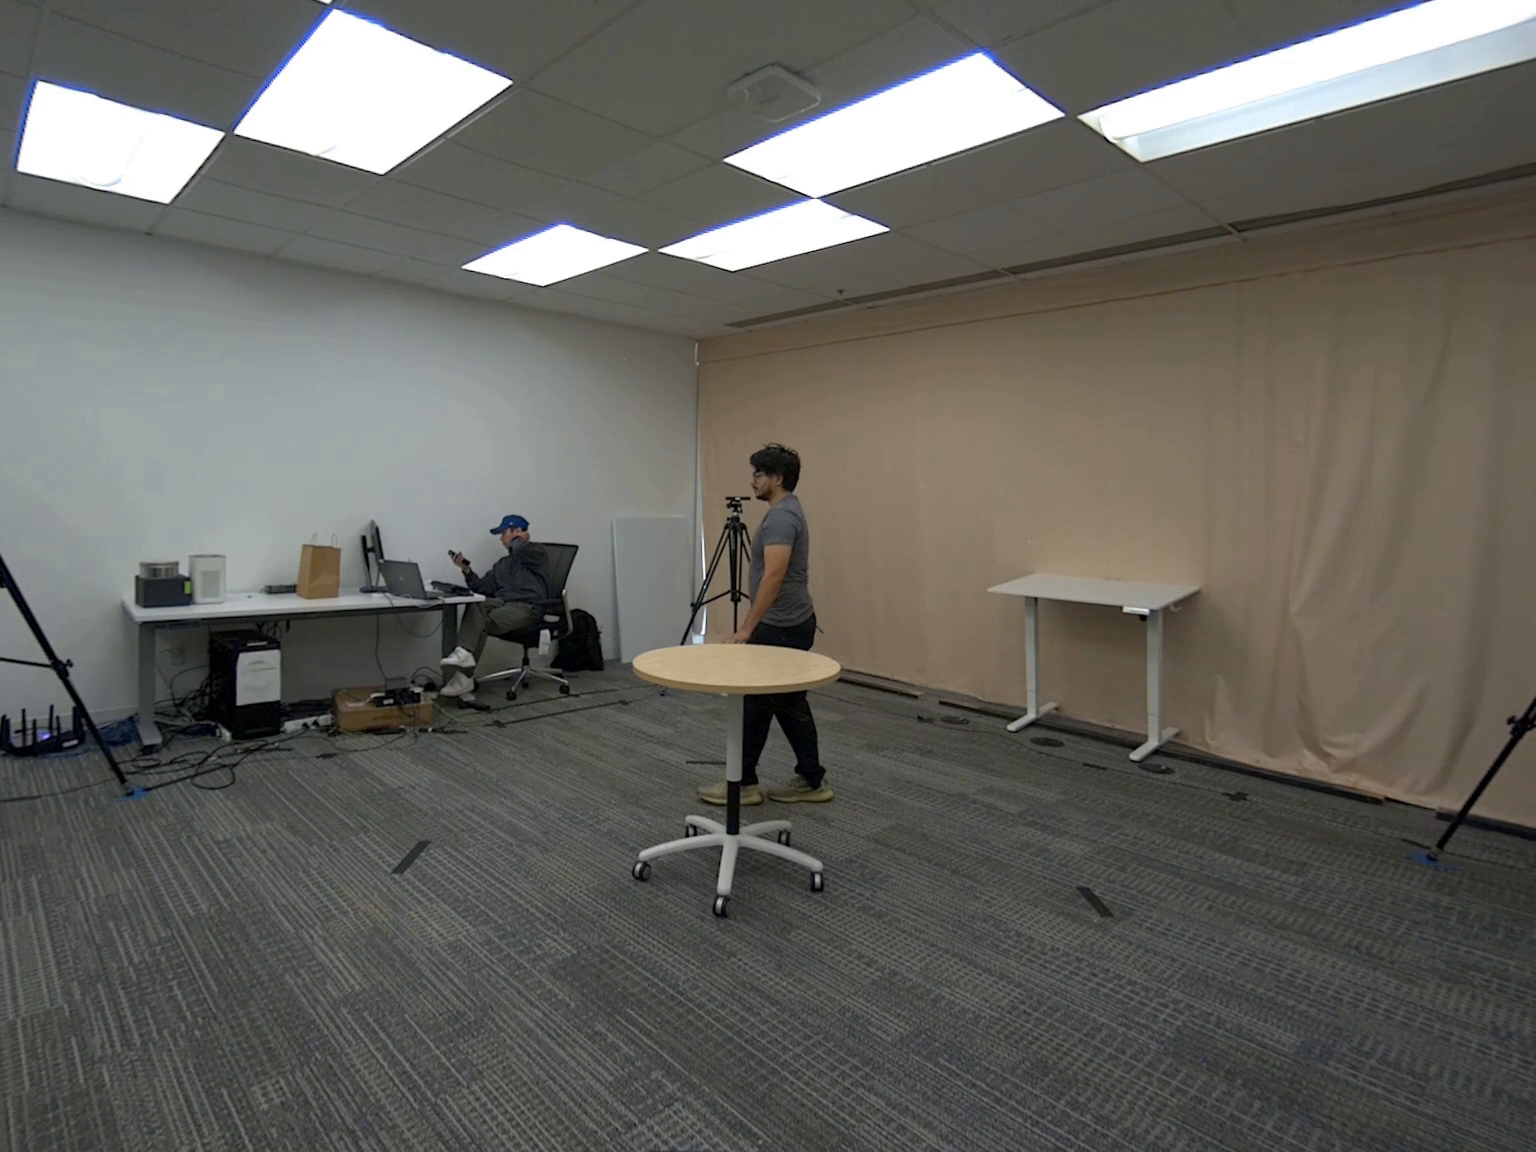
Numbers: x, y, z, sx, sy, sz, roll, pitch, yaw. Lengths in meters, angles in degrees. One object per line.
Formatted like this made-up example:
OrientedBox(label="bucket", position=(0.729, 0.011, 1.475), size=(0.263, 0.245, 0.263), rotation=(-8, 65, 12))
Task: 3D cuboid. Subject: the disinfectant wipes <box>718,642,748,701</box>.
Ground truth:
OrientedBox(label="disinfectant wipes", position=(-0.154, 0.410, 3.657), size=(0.118, 0.216, 0.118), rotation=(2, 8, -2))
